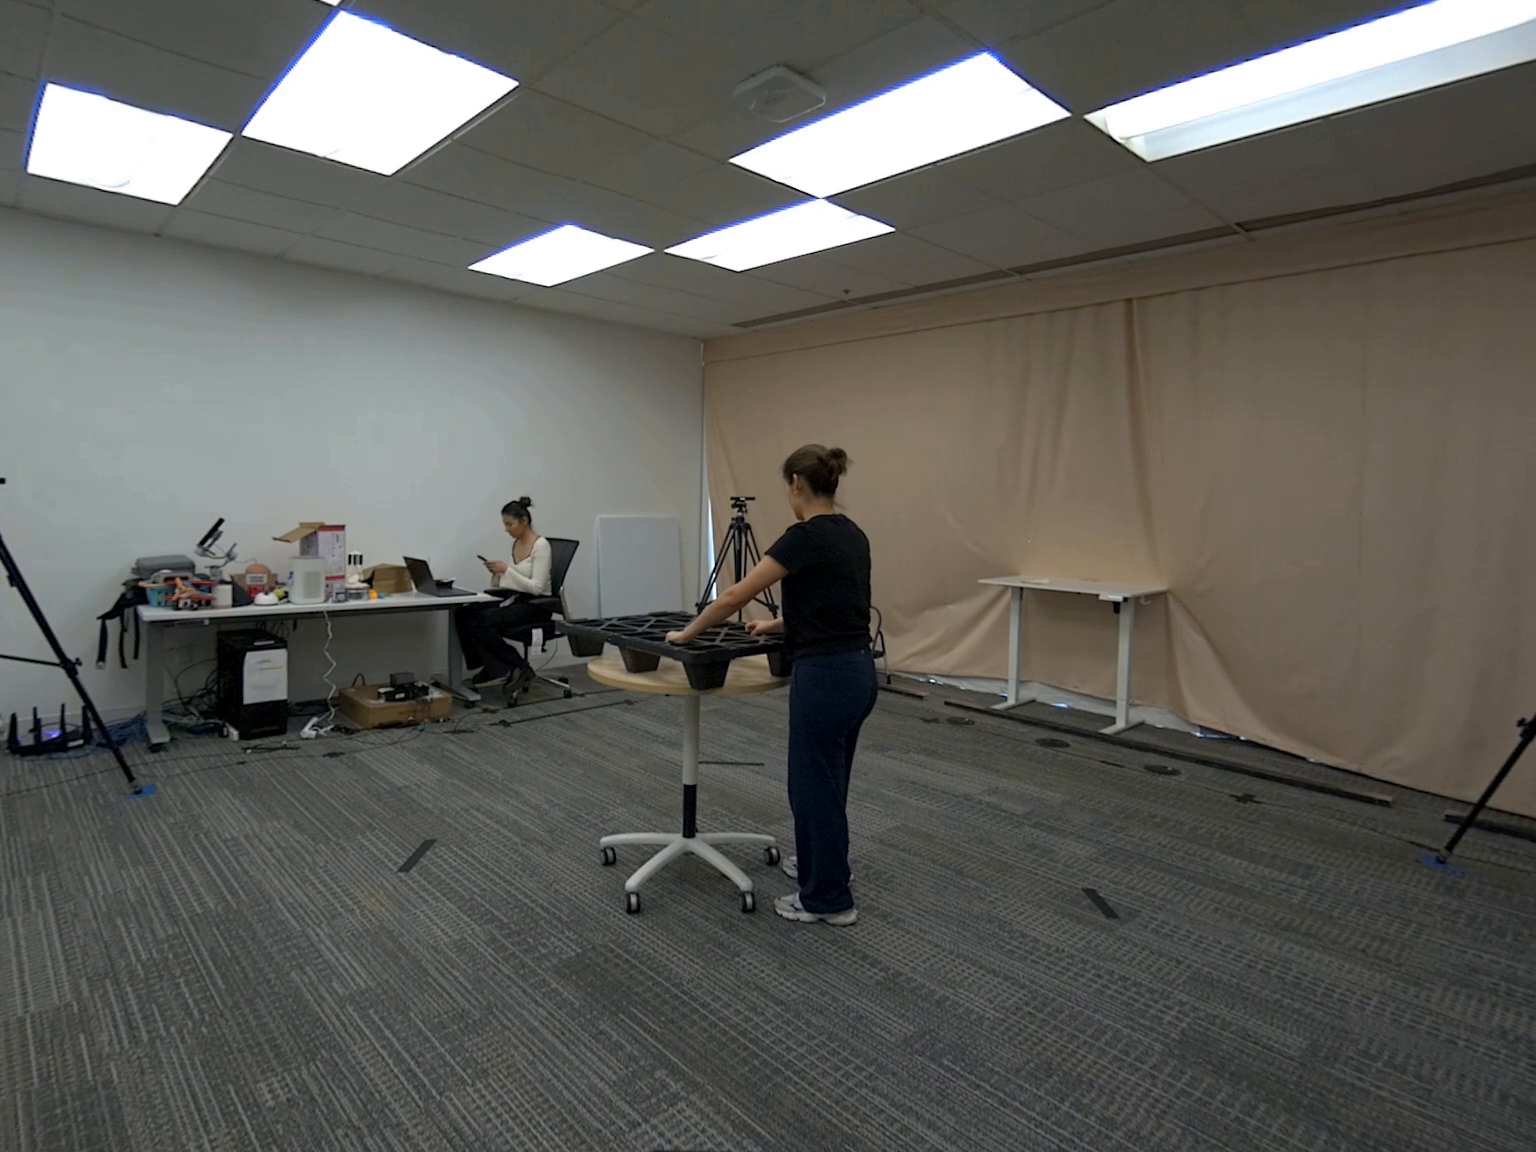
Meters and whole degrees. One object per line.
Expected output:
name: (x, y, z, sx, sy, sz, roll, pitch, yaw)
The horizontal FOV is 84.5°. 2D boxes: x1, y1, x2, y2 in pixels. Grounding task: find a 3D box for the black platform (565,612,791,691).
black platform: (-0.314, 0.263, 3.044, 0.591, 0.143, 0.826, -4, 8, -44)
